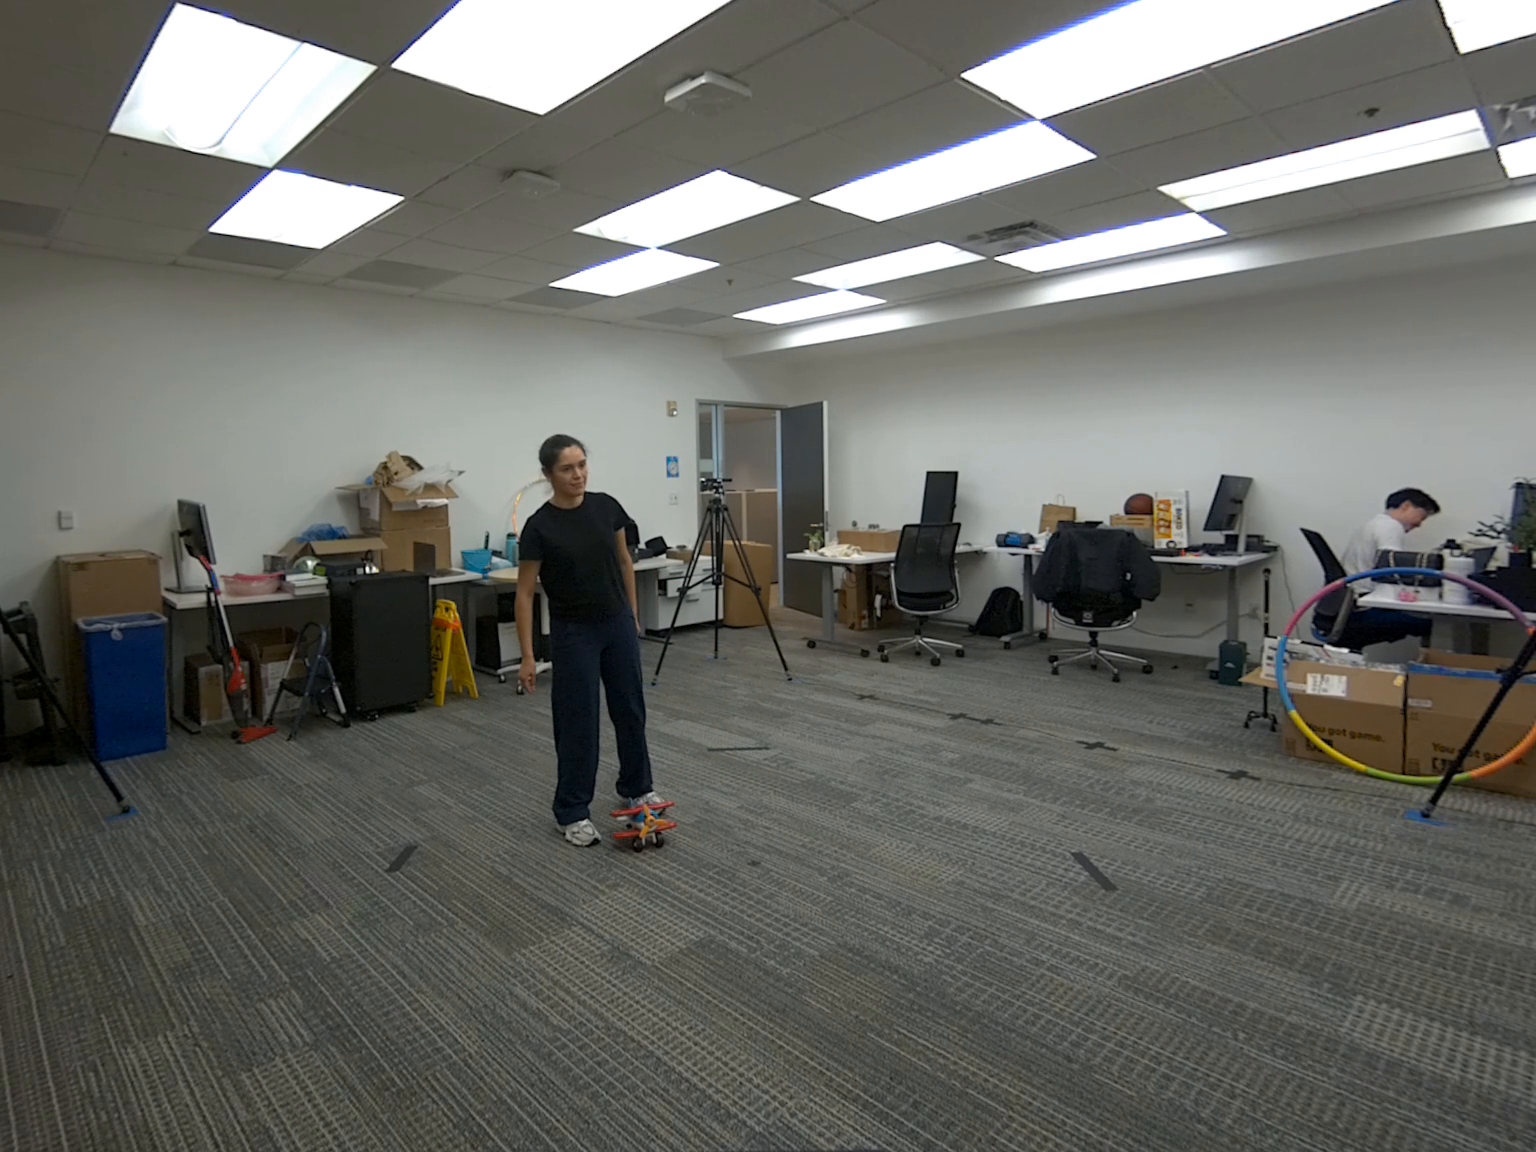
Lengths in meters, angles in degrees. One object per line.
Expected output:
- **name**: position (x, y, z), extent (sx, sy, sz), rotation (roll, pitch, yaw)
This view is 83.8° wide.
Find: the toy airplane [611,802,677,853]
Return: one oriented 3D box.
- **toy airplane**: position (-0.511, 0.958, 3.317), extent (0.267, 0.156, 0.245), rotation (5, 8, 35)
